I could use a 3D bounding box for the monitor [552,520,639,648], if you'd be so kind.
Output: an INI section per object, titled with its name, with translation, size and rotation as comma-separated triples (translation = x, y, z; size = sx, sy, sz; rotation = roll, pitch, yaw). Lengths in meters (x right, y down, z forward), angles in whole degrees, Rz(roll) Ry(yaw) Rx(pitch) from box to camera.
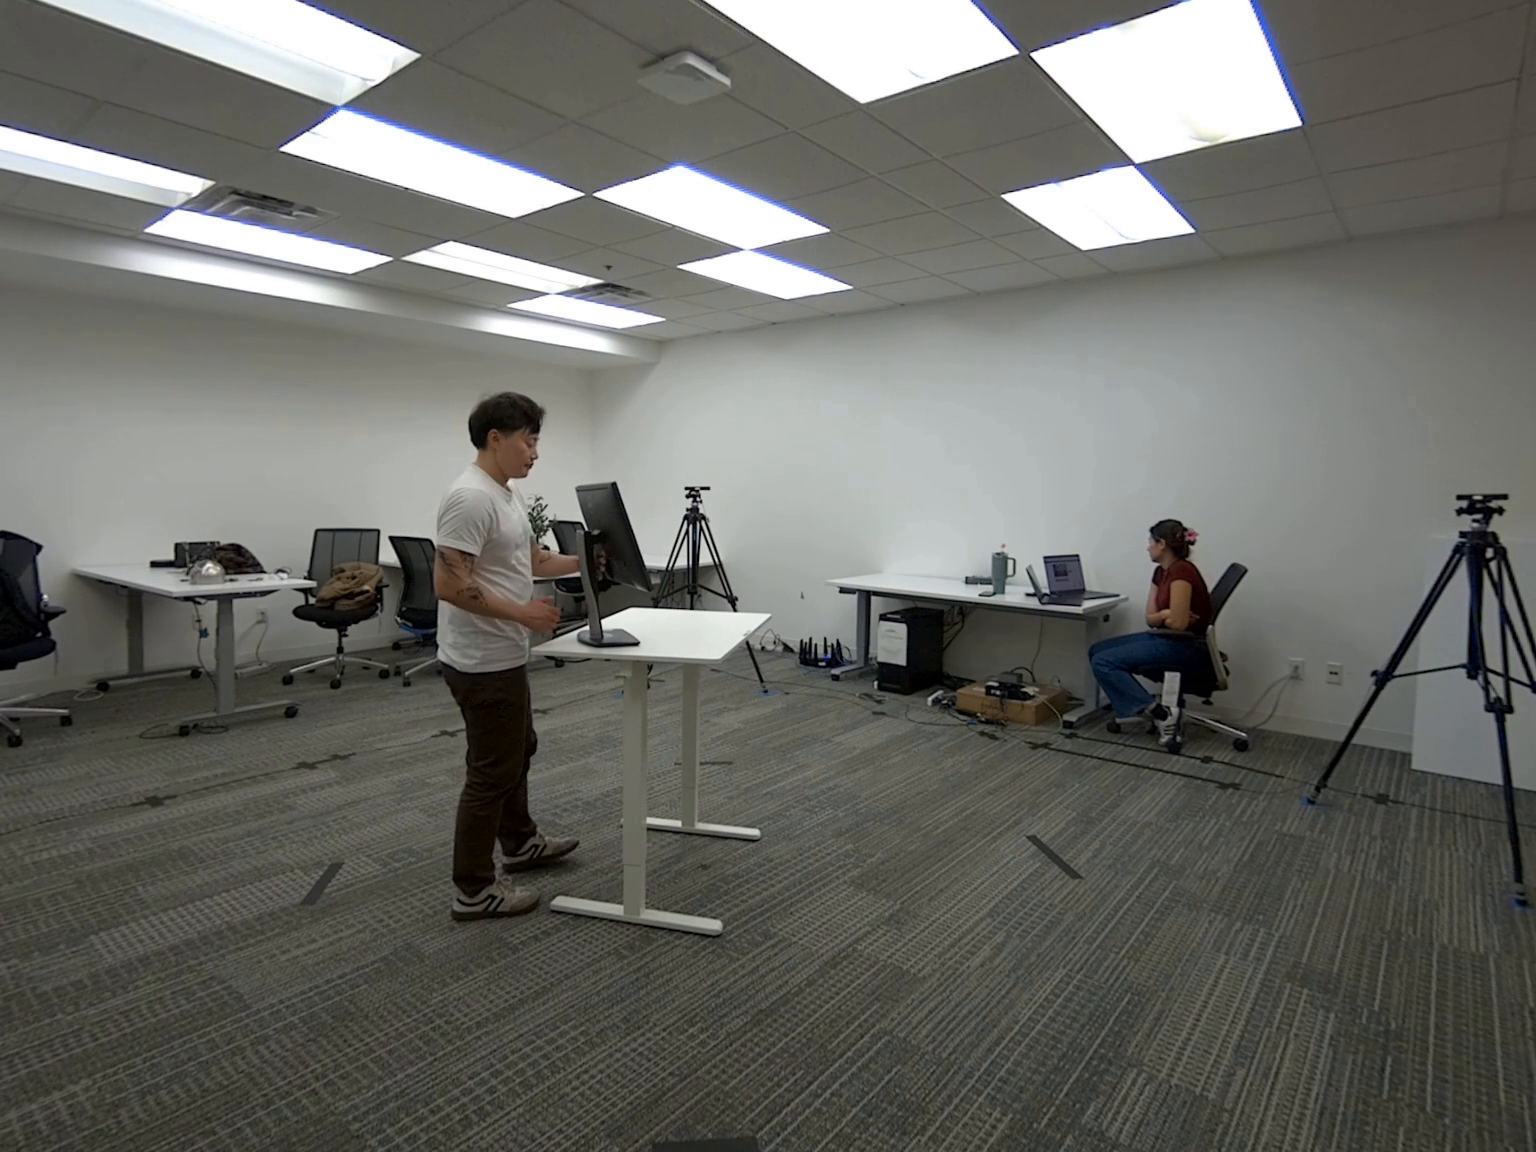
[monitor]
translation = -0.556, -0.045, 2.786
size = 0.183, 0.521, 0.553
rotation = -4, 4, -25
